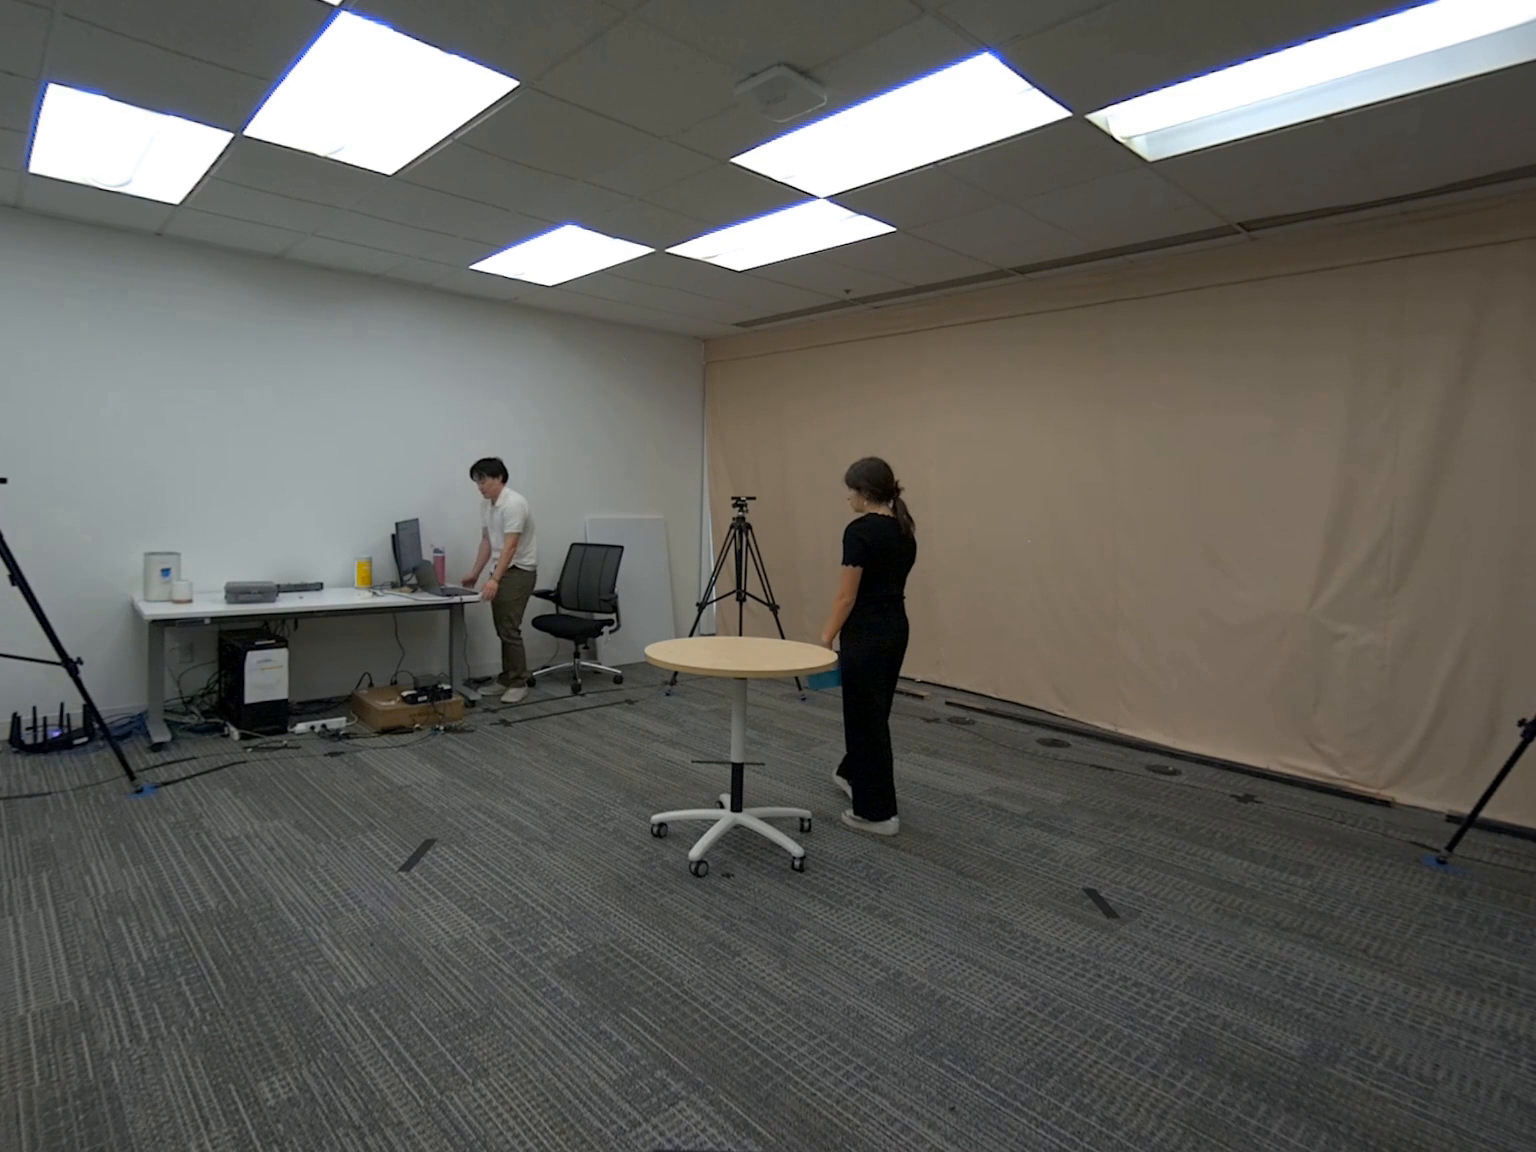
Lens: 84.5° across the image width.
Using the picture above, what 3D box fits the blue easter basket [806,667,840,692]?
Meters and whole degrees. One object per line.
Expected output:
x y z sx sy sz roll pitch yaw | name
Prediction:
0.269 0.415 3.723 0.243 0.157 0.242 -7 -6 -2 | blue easter basket
